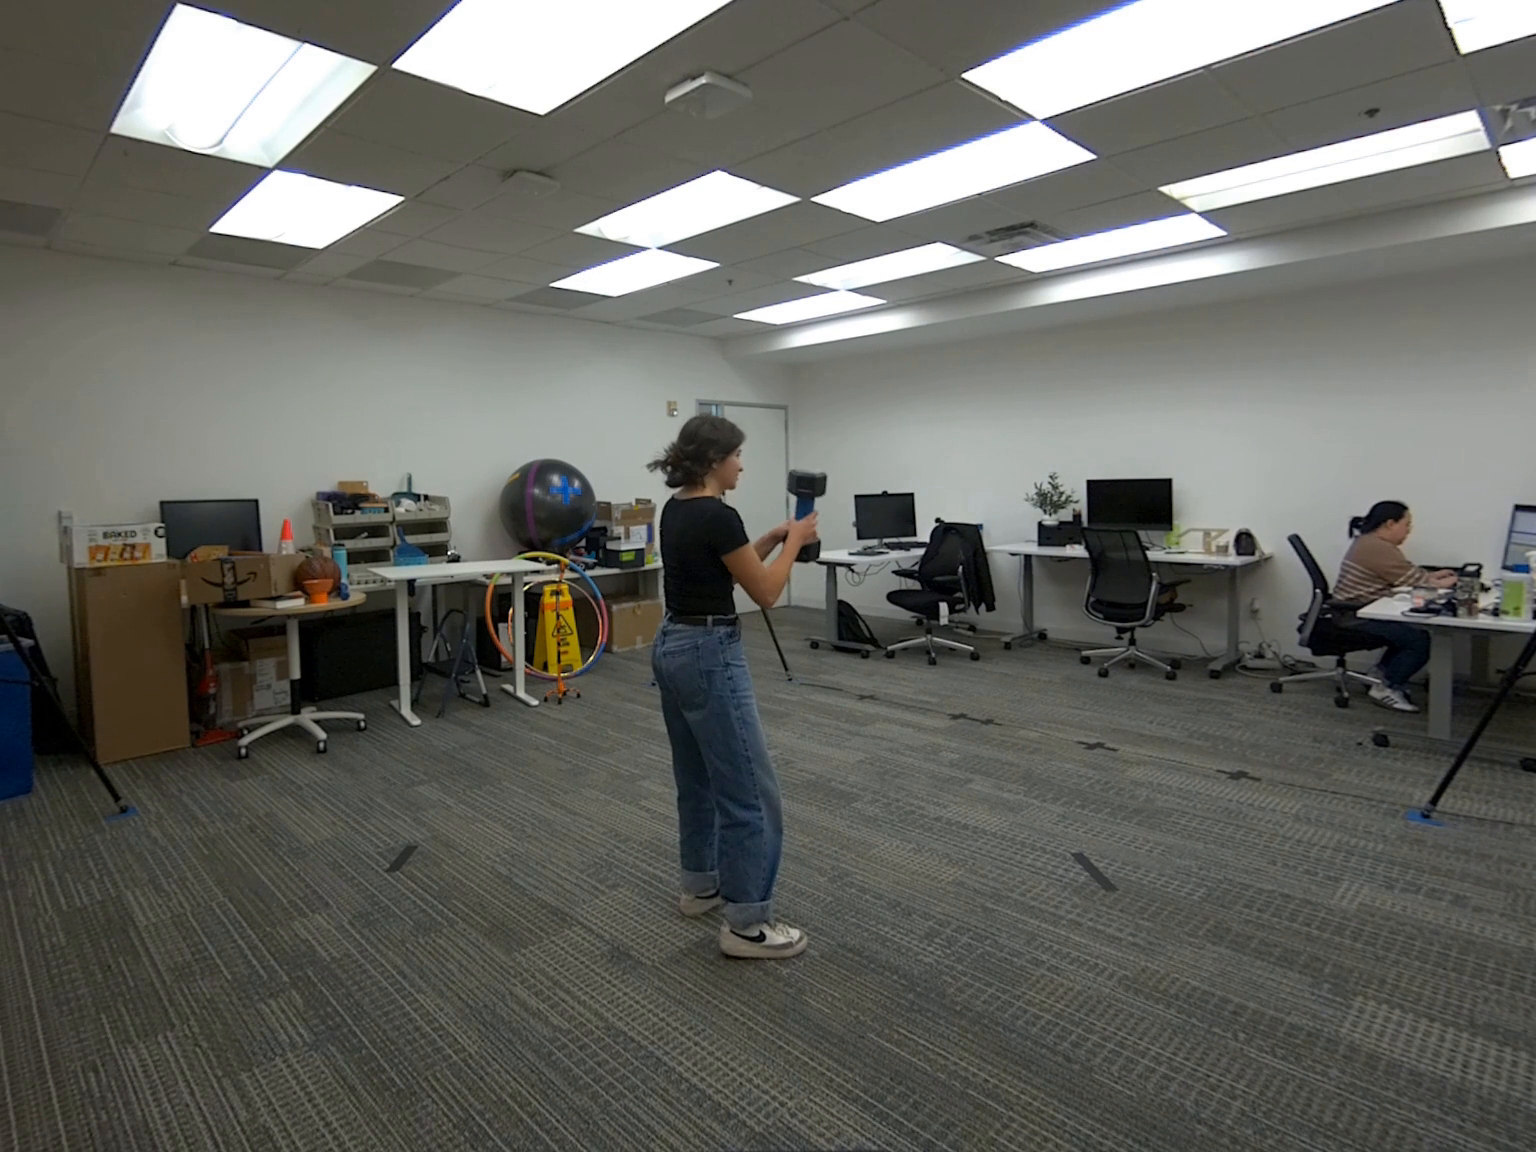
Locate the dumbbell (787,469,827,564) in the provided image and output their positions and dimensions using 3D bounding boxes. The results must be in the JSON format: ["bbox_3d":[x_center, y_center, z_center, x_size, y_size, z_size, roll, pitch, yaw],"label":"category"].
[{"bbox_3d":[0.116,-0.186,2.719,0.112,0.290,0.120,13,15,38],"label":"dumbbell"}]
